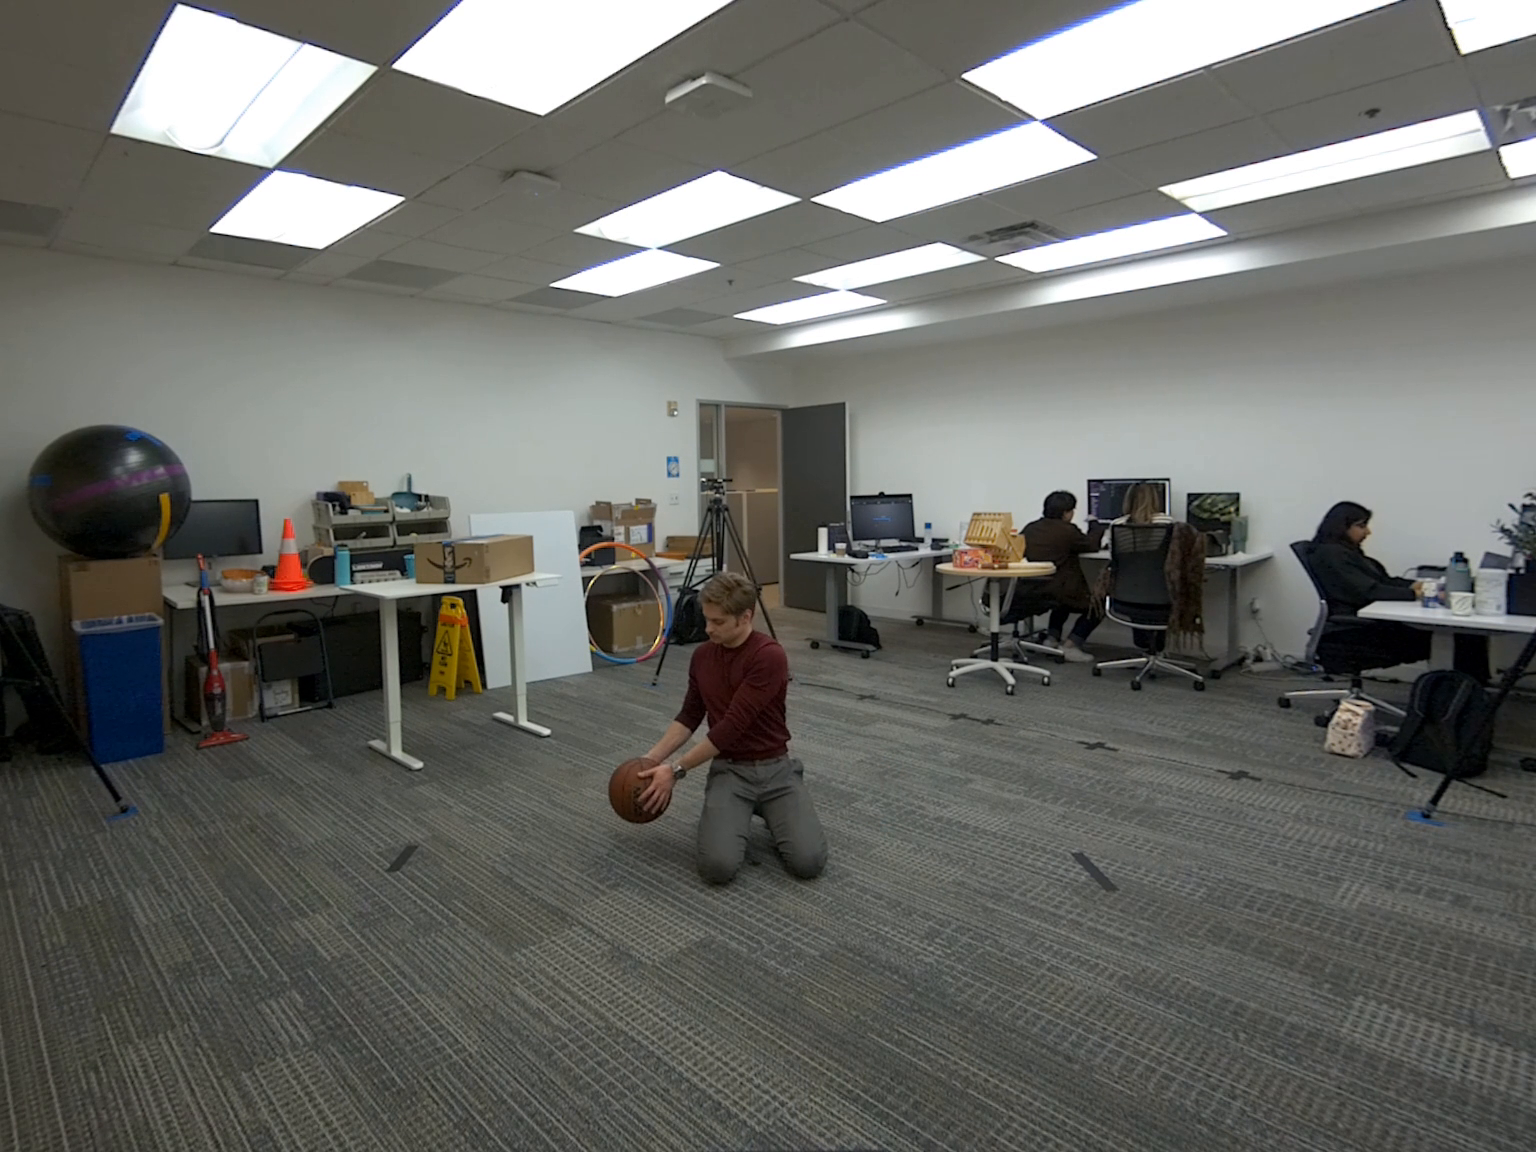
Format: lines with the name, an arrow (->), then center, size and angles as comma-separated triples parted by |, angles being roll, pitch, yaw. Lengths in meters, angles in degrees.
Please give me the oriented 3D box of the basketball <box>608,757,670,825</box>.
basketball -> -0.464, 0.788, 3.184 | 0.236, 0.235, 0.237 | -1, 5, -2
